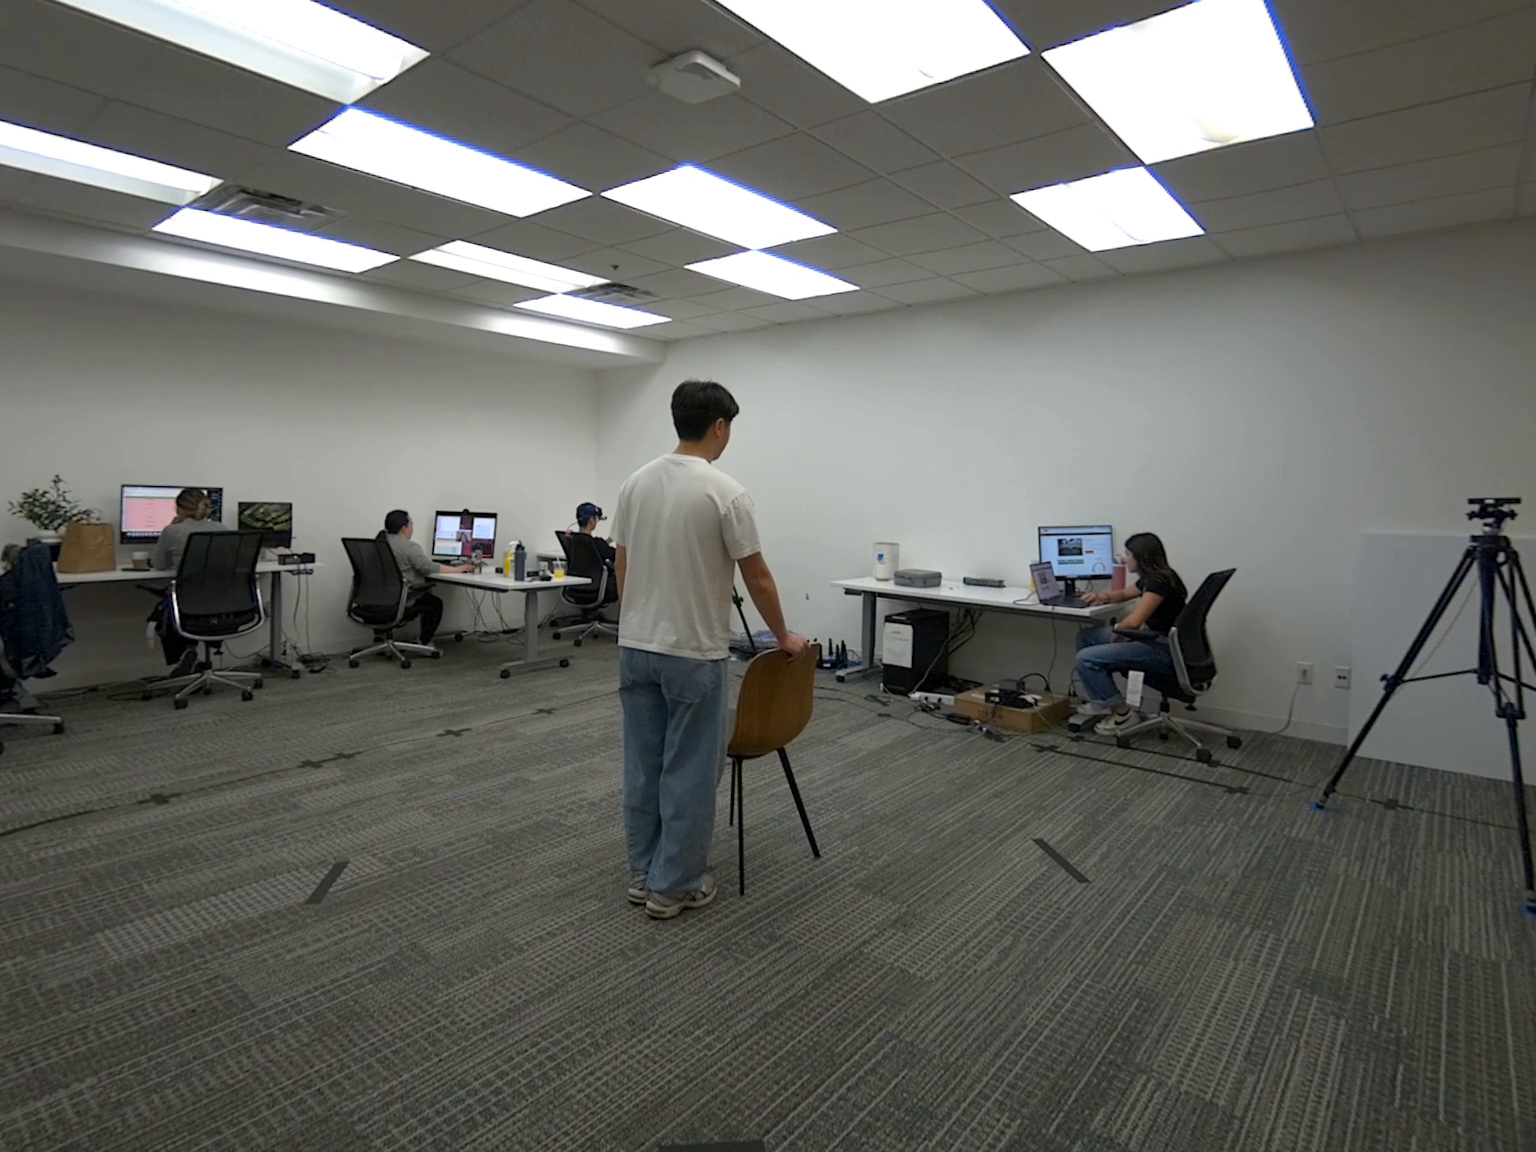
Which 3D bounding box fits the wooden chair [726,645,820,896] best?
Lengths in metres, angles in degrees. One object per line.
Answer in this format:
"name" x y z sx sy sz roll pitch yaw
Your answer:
"wooden chair" -0.120 0.632 3.198 0.542 0.873 0.463 10 8 41
